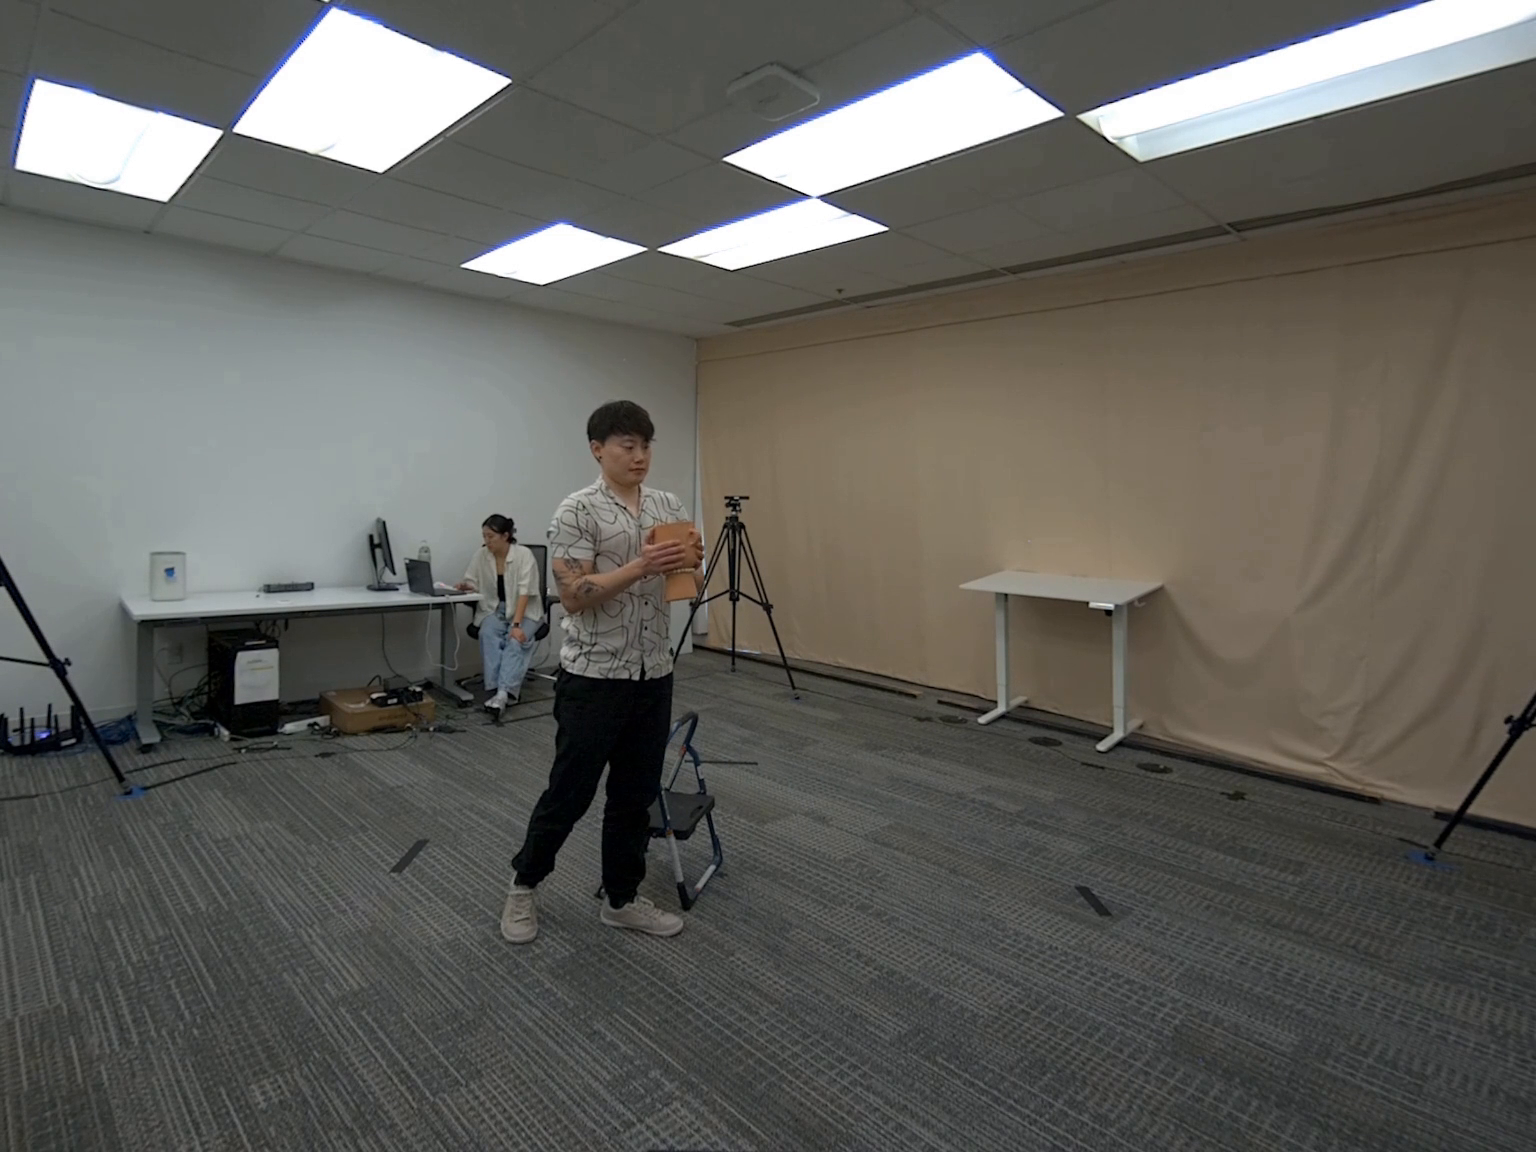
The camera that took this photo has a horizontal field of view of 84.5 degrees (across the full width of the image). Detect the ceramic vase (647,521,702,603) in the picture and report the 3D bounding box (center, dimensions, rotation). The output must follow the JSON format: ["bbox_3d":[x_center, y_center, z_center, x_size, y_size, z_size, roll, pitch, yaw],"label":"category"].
[{"bbox_3d":[-0.280,-0.046,2.485,0.133,0.220,0.160,-7,-3,-14],"label":"ceramic vase"}]
